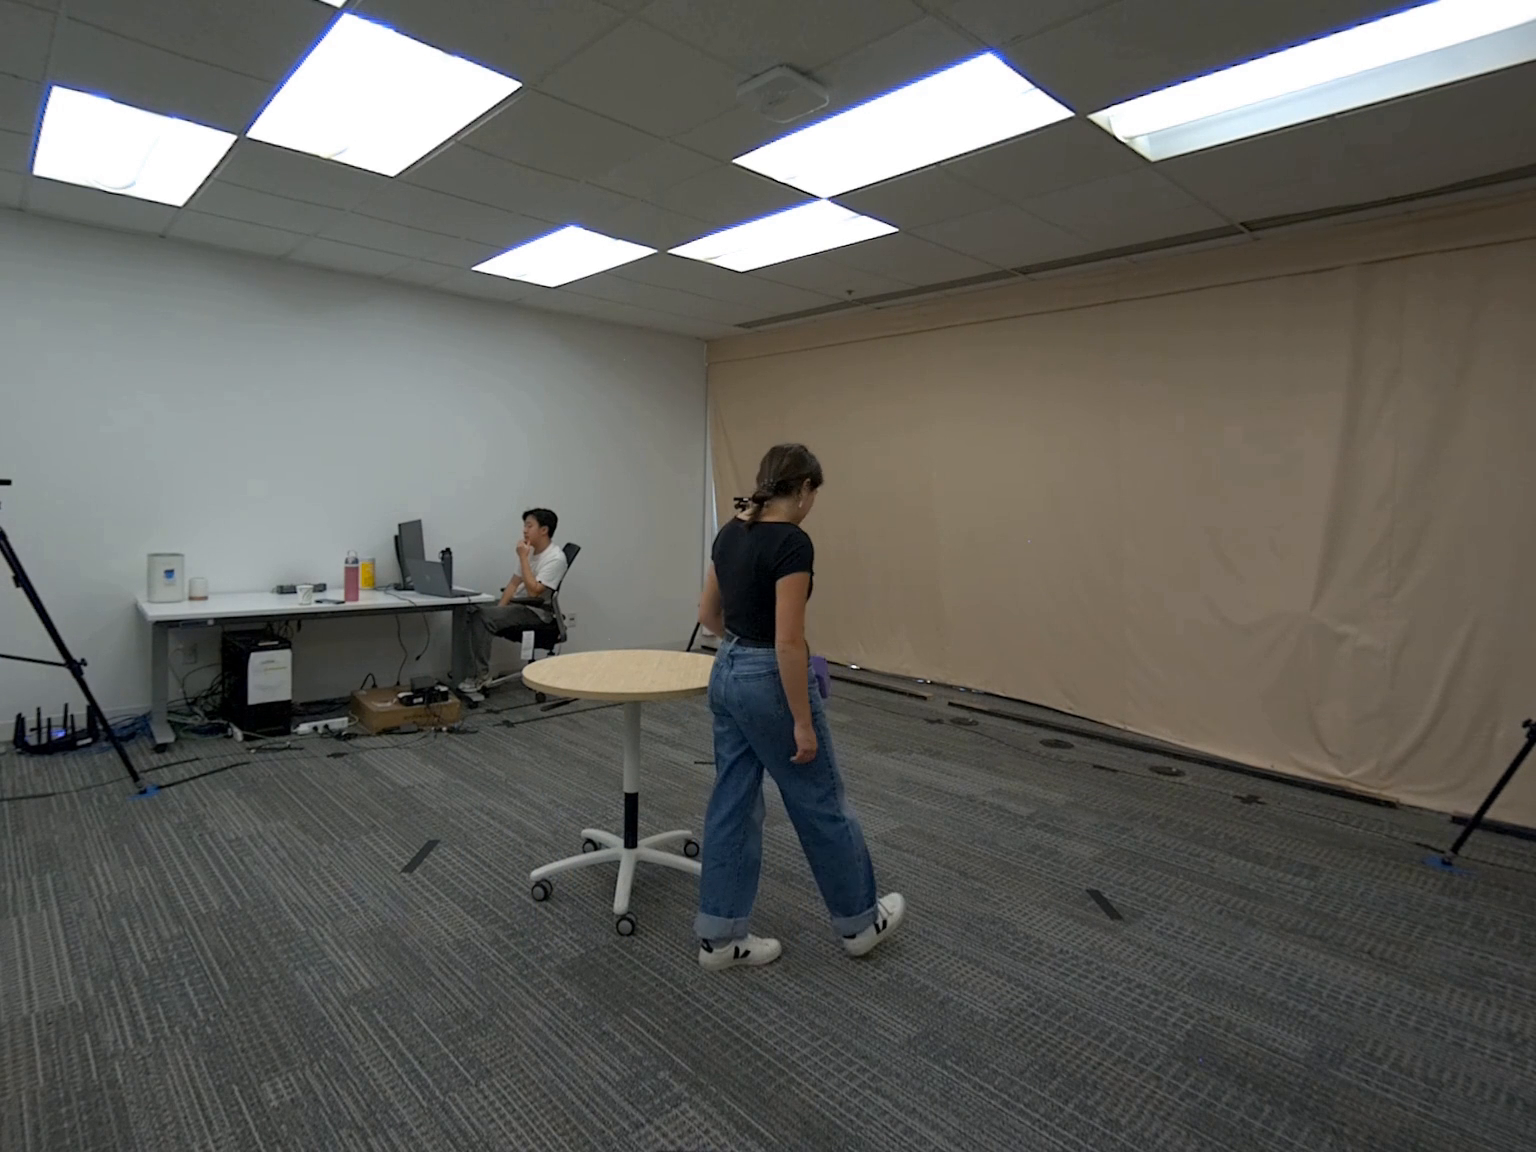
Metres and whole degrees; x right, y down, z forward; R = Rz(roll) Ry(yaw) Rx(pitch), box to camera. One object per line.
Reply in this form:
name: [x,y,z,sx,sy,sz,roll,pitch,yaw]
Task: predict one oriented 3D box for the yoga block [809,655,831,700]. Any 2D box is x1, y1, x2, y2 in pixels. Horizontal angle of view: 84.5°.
yoga block: [0.129,0.337,2.819,0.151,0.077,0.224,7,-23,12]
